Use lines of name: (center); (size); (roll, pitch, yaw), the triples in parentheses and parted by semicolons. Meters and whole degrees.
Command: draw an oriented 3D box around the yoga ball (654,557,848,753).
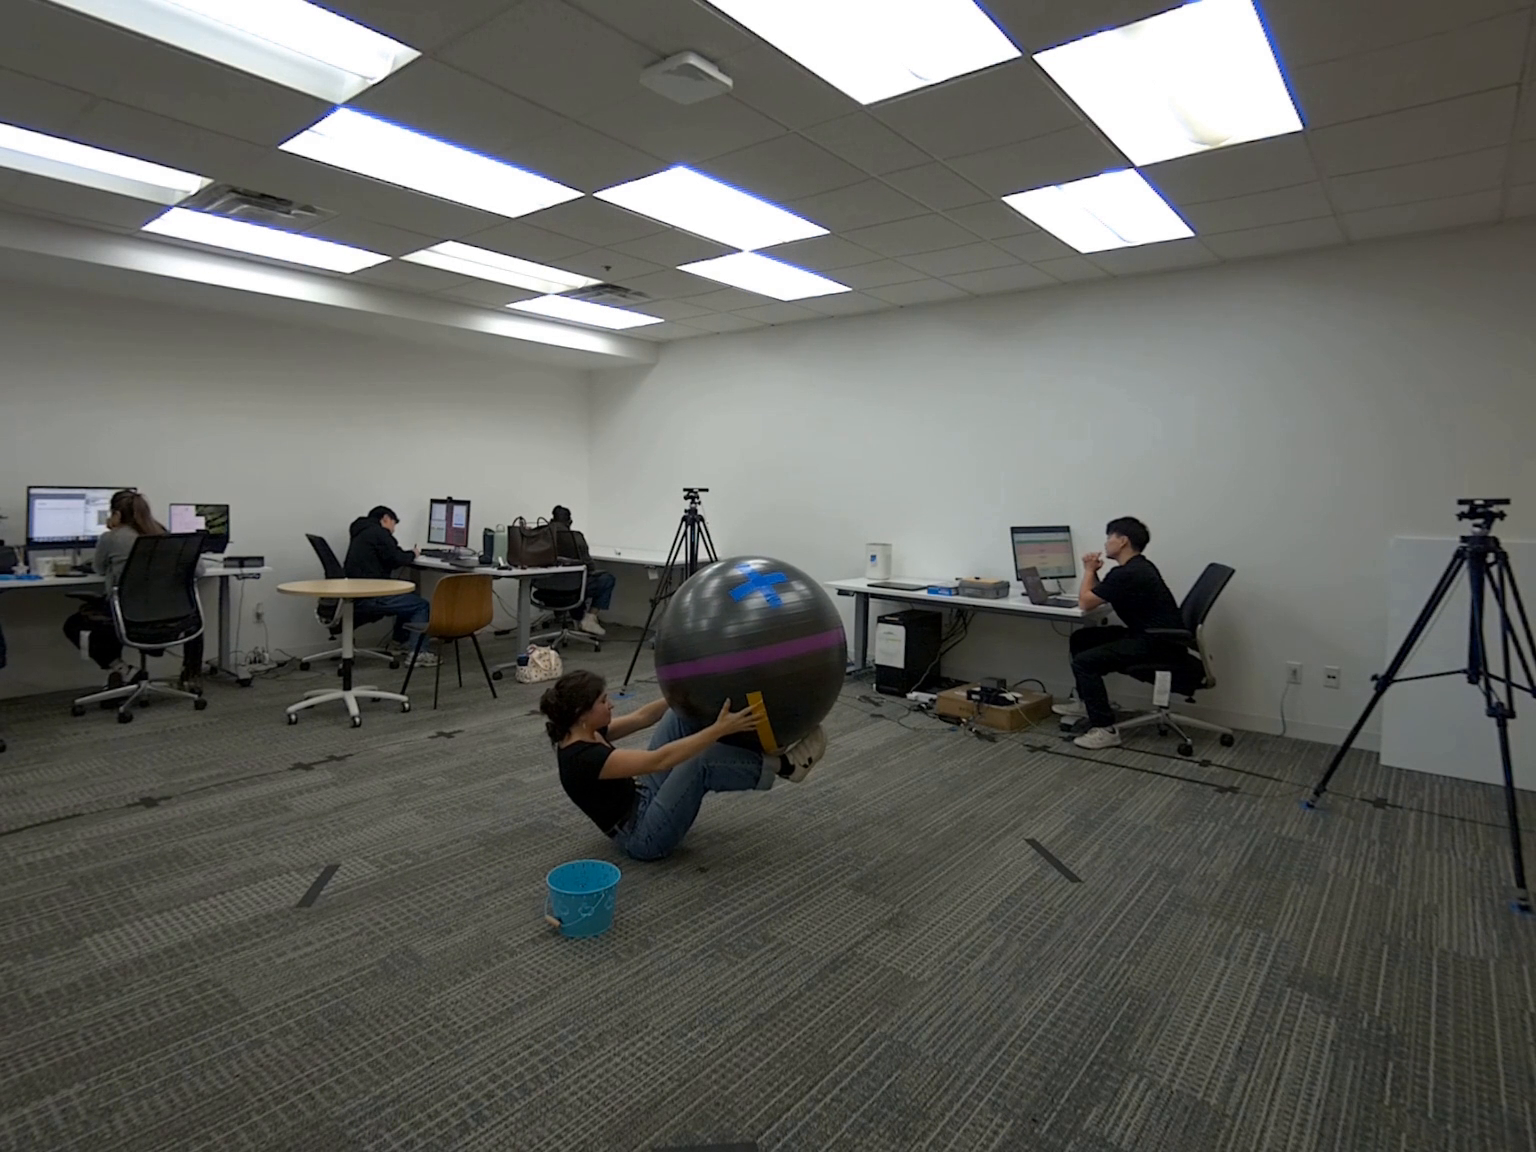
yoga ball: (-0.088, 0.296, 3.339); (0.757, 0.756, 0.761); (1, 4, -2)
